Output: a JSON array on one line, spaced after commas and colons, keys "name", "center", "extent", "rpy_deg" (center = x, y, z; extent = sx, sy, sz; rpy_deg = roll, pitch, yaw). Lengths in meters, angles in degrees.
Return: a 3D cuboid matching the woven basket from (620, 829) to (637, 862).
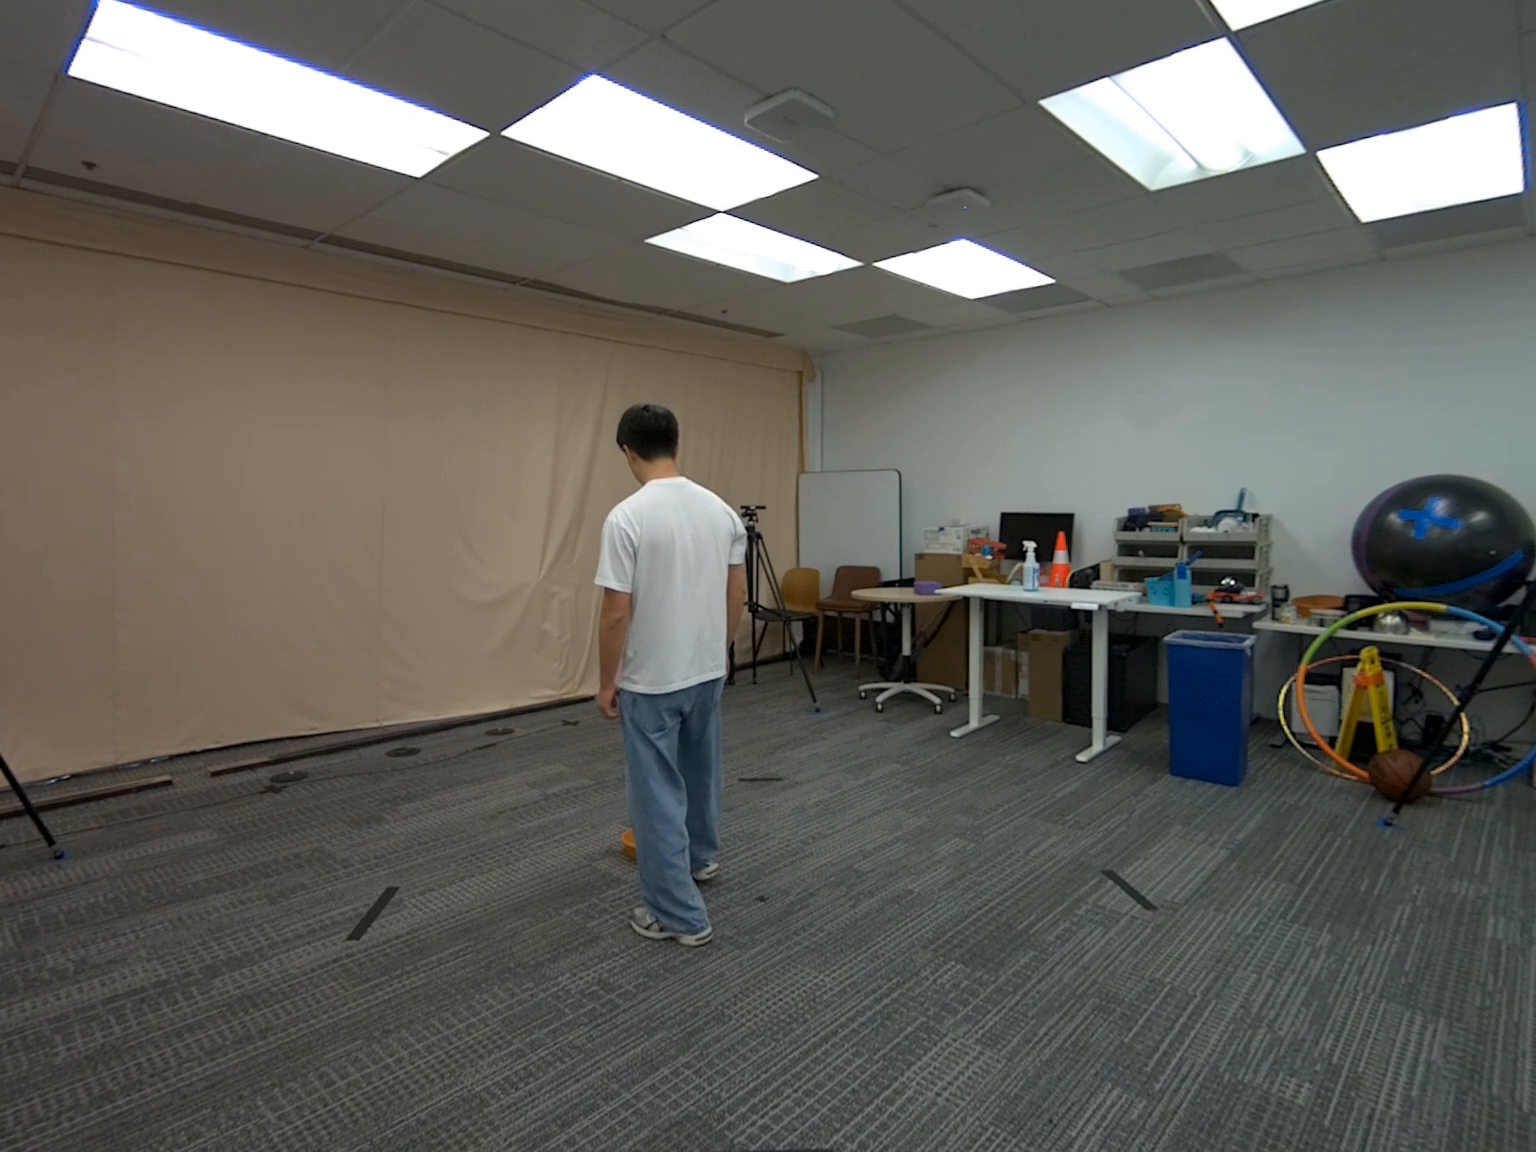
[{"name": "woven basket", "center": [-0.418, 1.070, 3.385], "extent": [0.347, 0.073, 0.255], "rpy_deg": [-1, 4, -9]}]
